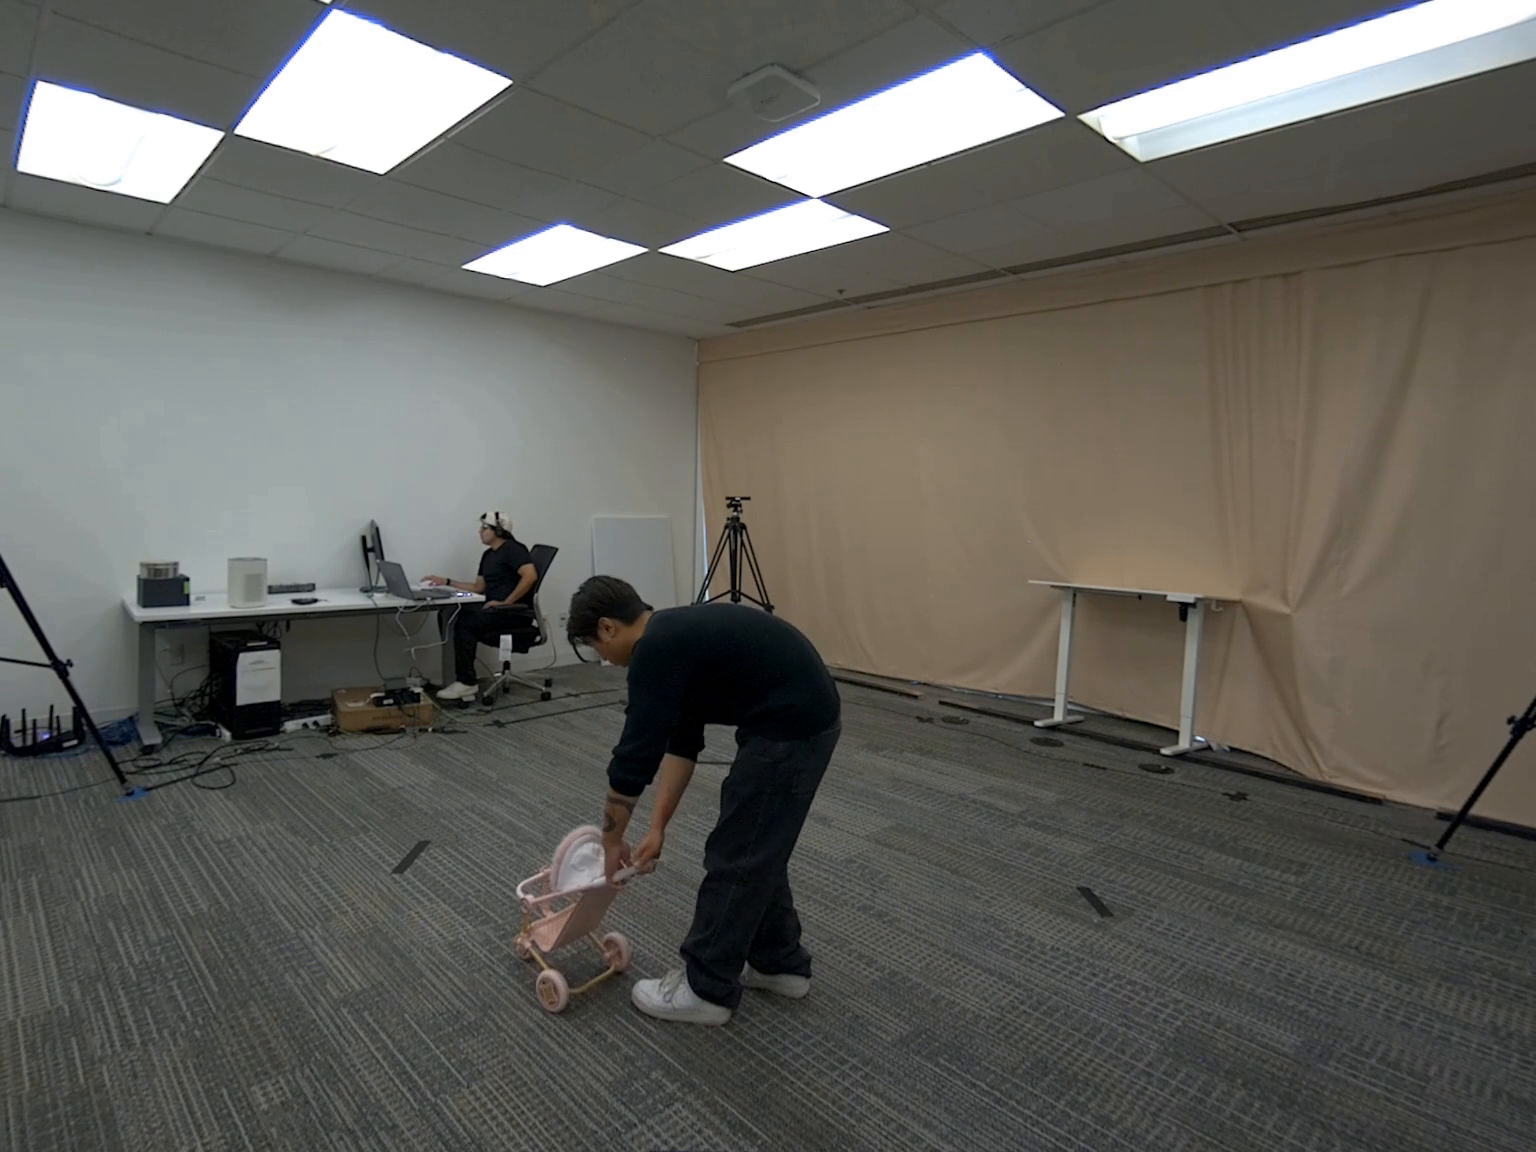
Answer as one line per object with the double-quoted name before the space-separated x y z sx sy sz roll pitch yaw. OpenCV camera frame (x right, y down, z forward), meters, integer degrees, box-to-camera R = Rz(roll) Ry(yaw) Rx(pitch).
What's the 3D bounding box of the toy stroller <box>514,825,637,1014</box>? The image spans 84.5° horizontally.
"toy stroller" -0.558 0.942 2.398 0.351 0.531 0.275 28 18 35
